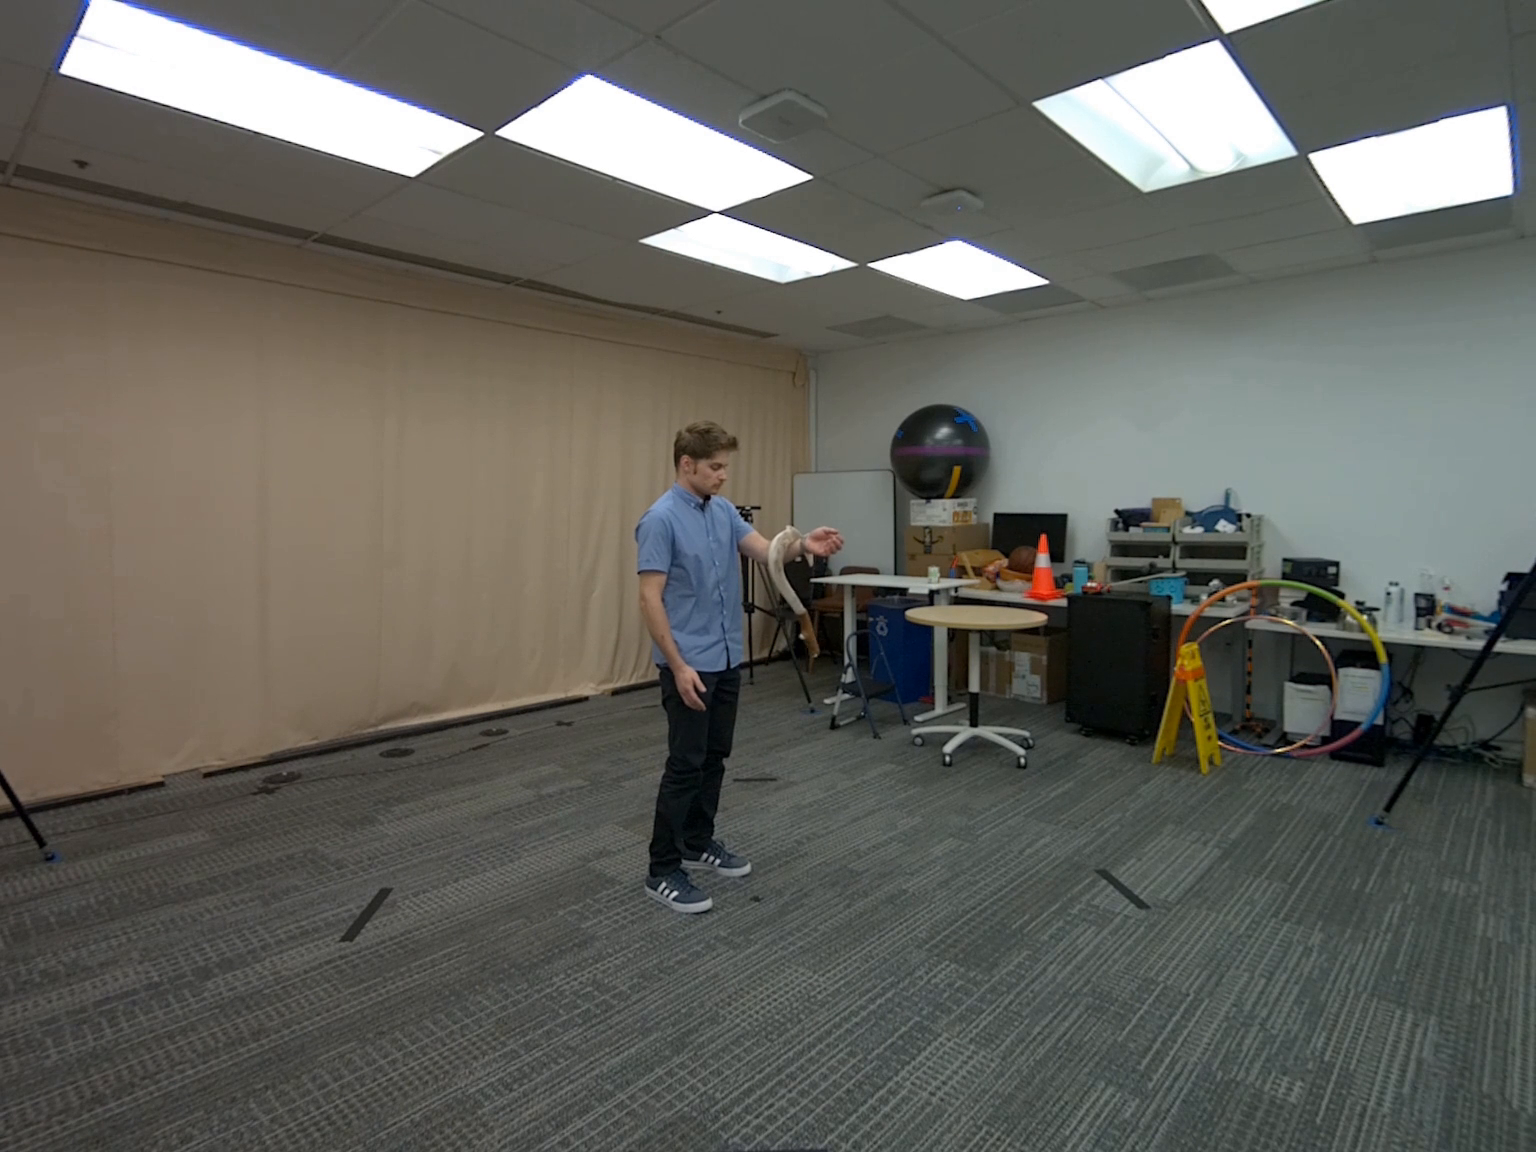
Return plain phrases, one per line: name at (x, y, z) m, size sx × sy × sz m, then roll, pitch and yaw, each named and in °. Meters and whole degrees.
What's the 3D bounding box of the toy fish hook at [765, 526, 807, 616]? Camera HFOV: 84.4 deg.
toy fish hook at (0.135, 0.061, 3.059) m, size 0.221 × 0.496 × 0.050 m, roll -36°, pitch 27°, yaw -32°
